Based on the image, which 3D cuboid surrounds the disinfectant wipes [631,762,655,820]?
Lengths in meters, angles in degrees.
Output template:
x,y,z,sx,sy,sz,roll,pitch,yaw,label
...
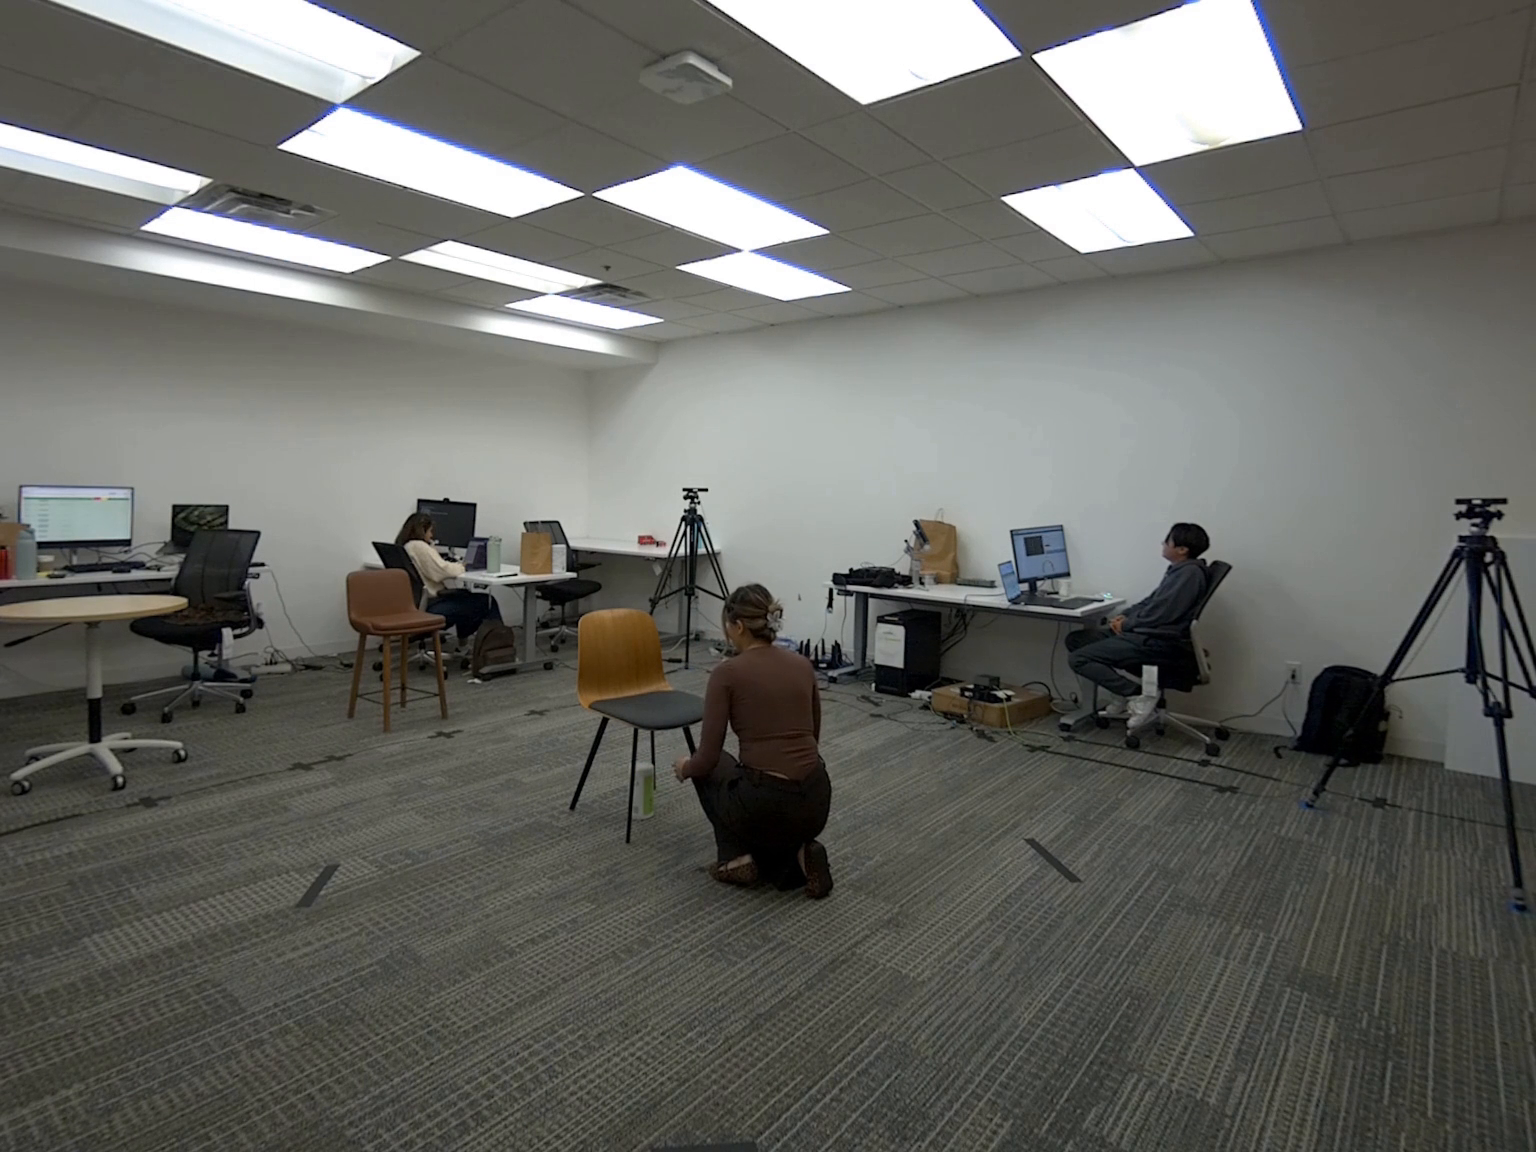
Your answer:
x,y,z,sx,sy,sz,roll,pitch,yaw,label
-0.549,0.916,3.616,0.117,0.216,0.118,2,5,-2,disinfectant wipes
